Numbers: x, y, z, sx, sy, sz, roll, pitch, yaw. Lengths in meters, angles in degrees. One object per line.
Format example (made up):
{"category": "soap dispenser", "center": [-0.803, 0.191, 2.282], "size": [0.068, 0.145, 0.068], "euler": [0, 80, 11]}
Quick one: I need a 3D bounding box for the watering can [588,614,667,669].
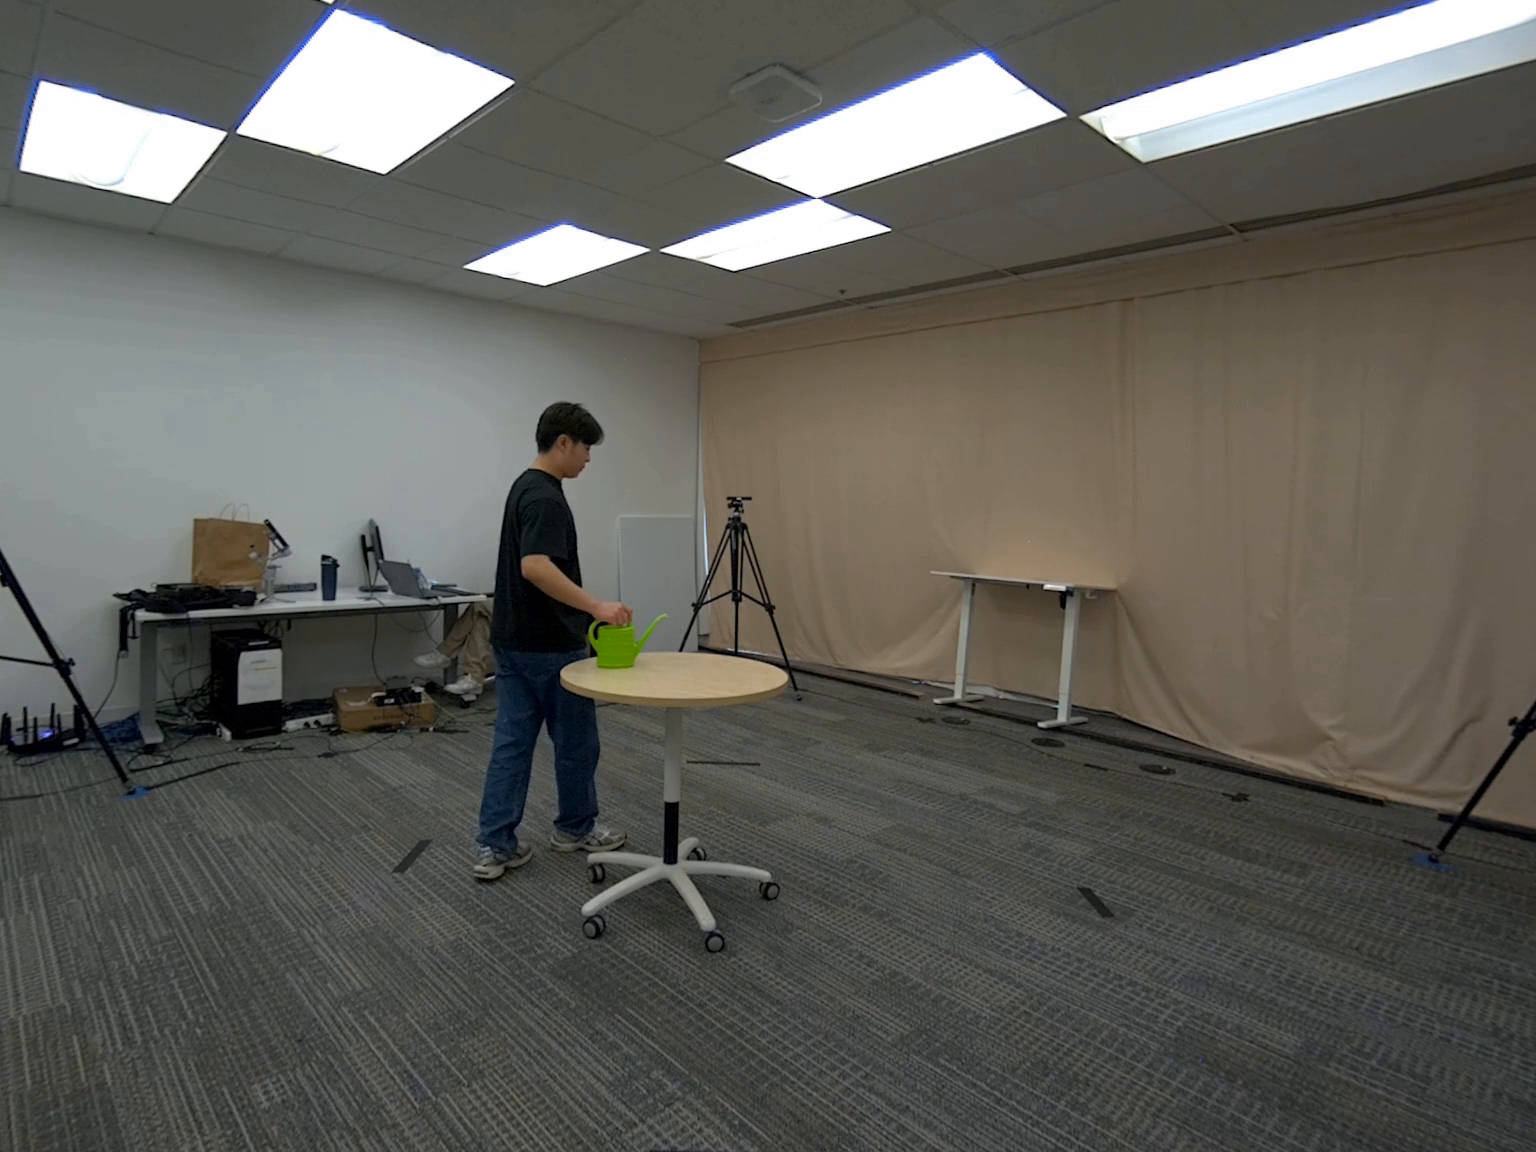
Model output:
{"category": "watering can", "center": [-0.492, 0.235, 2.932], "size": [0.277, 0.177, 0.098], "euler": [1, 1, -5]}
